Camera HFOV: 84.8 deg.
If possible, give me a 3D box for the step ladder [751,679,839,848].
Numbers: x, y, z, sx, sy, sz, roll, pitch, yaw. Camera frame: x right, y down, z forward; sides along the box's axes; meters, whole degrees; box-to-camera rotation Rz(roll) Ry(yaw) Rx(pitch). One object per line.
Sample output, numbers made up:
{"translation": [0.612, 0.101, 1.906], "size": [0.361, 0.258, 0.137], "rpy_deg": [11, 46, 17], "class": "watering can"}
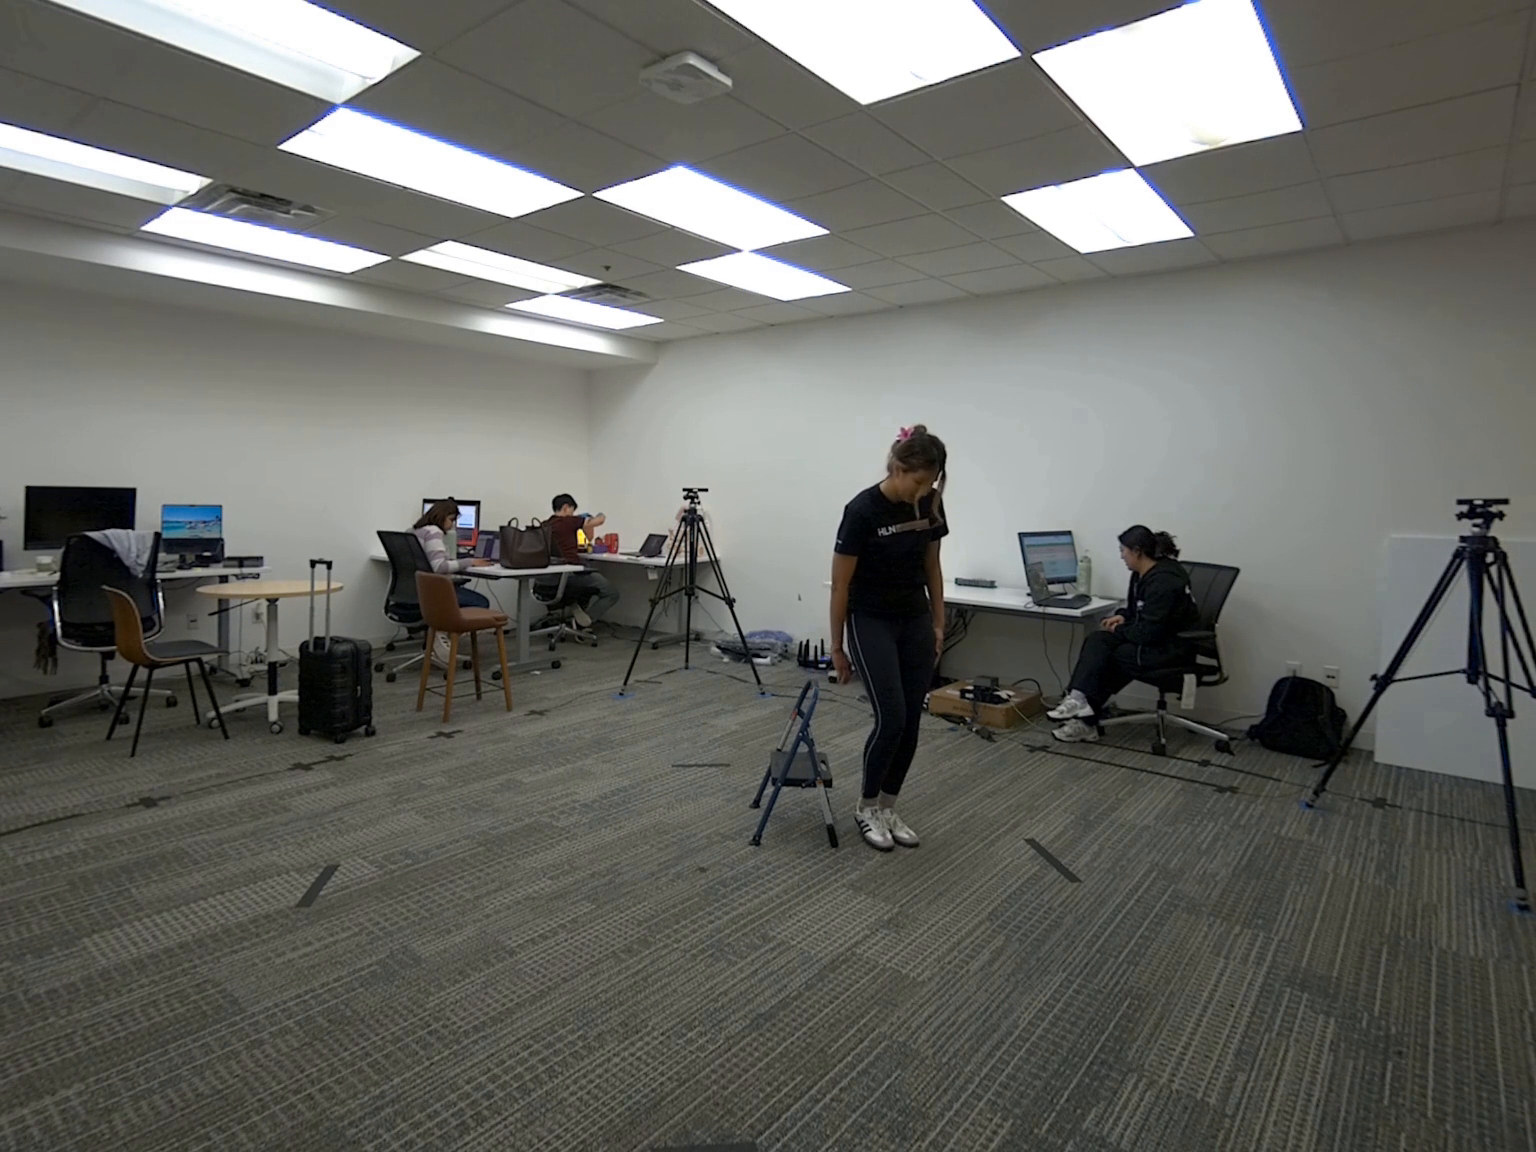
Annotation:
{"translation": [0.095, 0.738, 3.519], "size": [0.350, 0.604, 0.431], "rpy_deg": [0, 4, 0], "class": "step ladder"}
